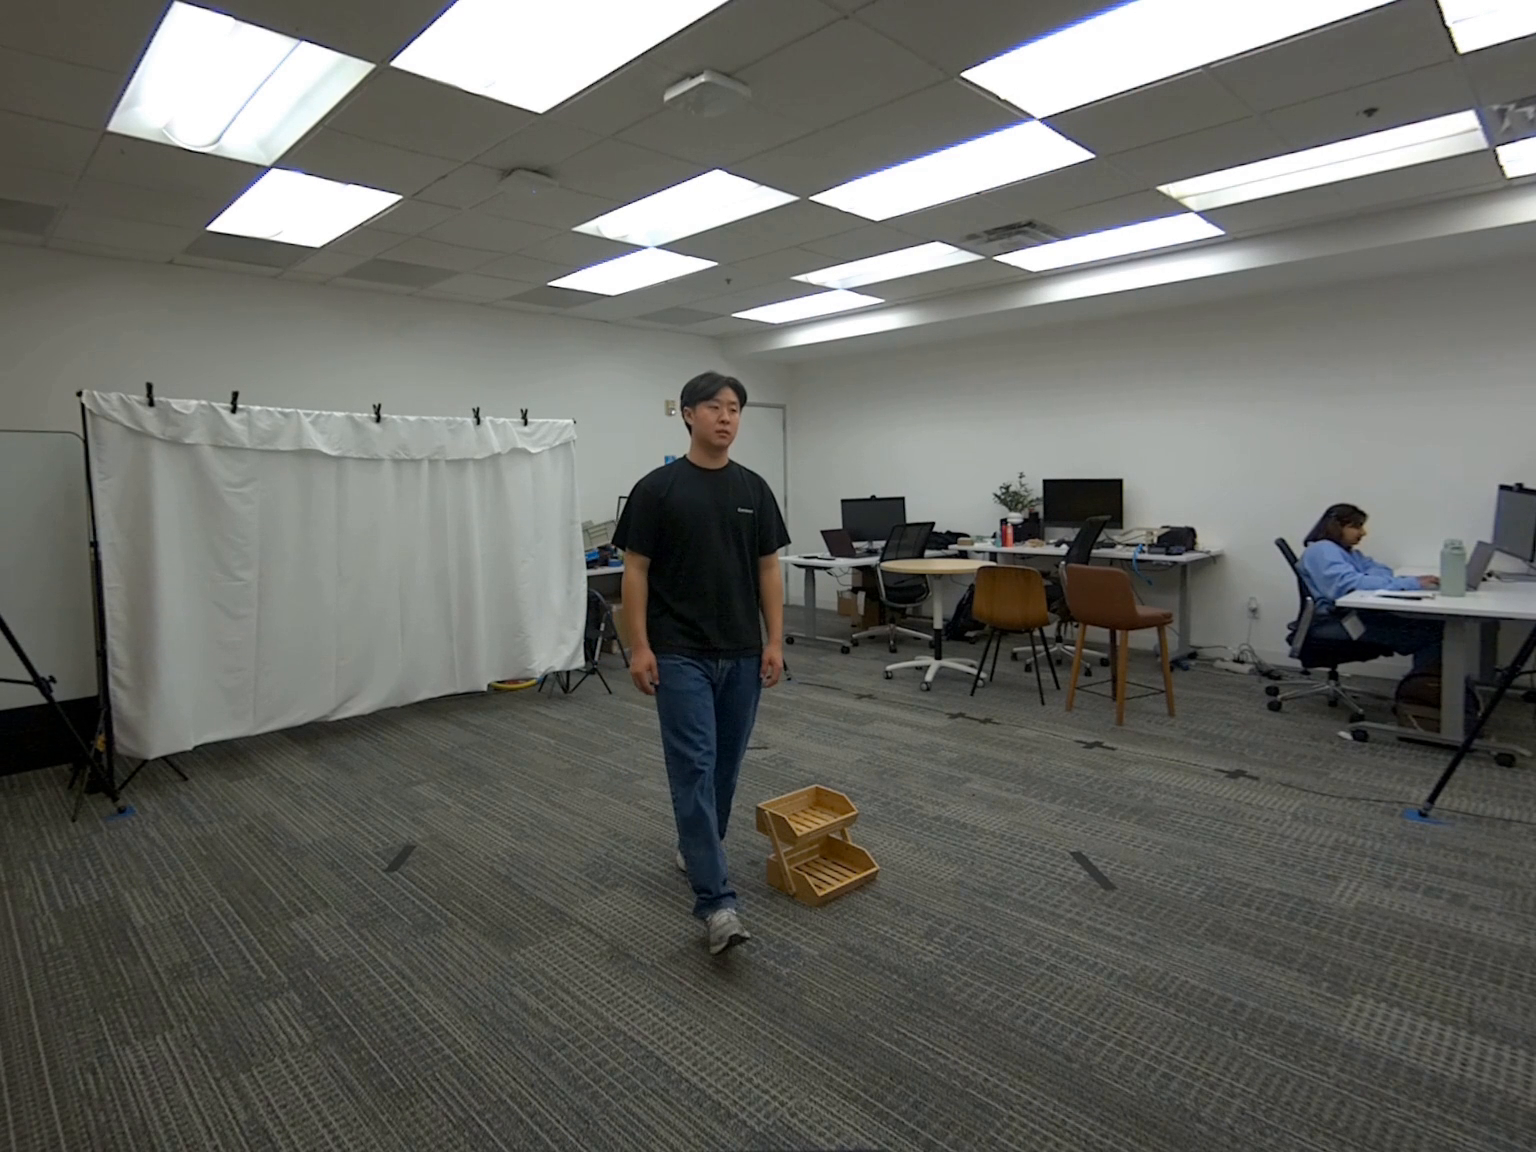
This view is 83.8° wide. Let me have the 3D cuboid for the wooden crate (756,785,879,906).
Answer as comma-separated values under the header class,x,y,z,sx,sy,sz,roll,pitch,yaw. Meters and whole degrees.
class,x,y,z,sx,sy,sz,roll,pitch,yaw
wooden crate,0.178,0.921,2.959,0.316,0.272,0.311,-6,7,-42
